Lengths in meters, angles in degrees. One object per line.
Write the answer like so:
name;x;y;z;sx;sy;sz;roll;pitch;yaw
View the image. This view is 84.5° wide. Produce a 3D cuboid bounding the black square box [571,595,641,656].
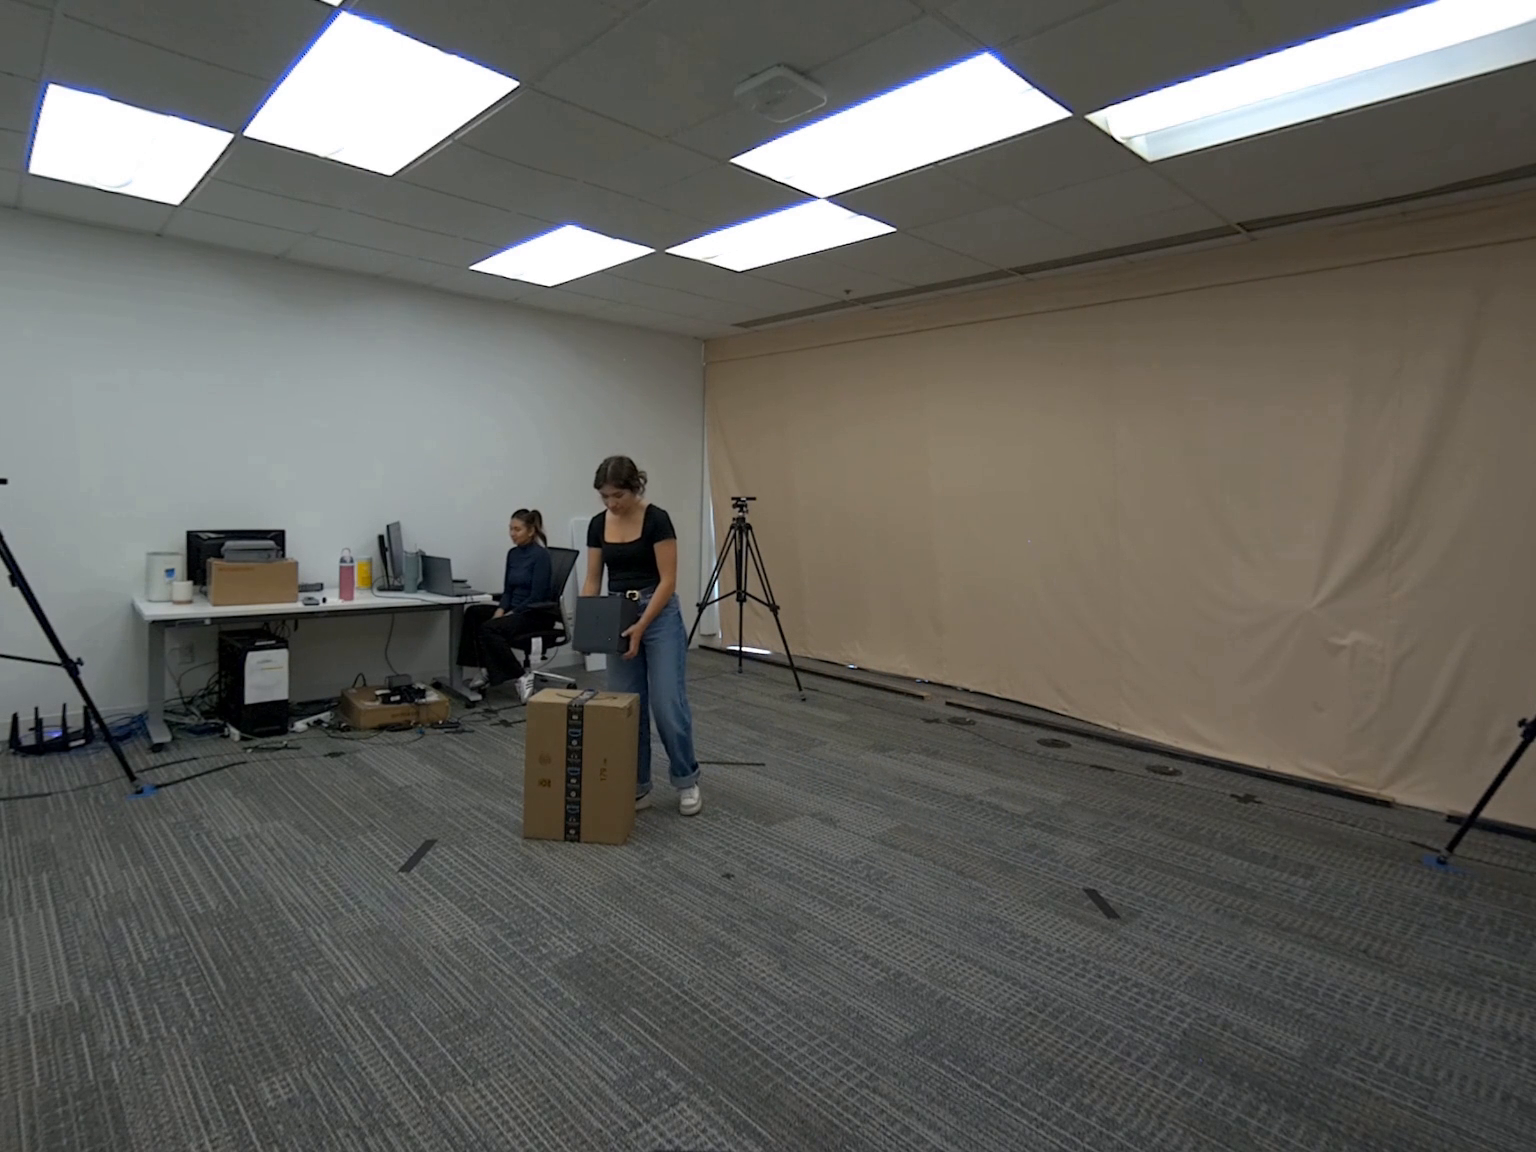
black square box;-0.700;0.200;3.534;0.220;0.229;0.153;1;-6;17
